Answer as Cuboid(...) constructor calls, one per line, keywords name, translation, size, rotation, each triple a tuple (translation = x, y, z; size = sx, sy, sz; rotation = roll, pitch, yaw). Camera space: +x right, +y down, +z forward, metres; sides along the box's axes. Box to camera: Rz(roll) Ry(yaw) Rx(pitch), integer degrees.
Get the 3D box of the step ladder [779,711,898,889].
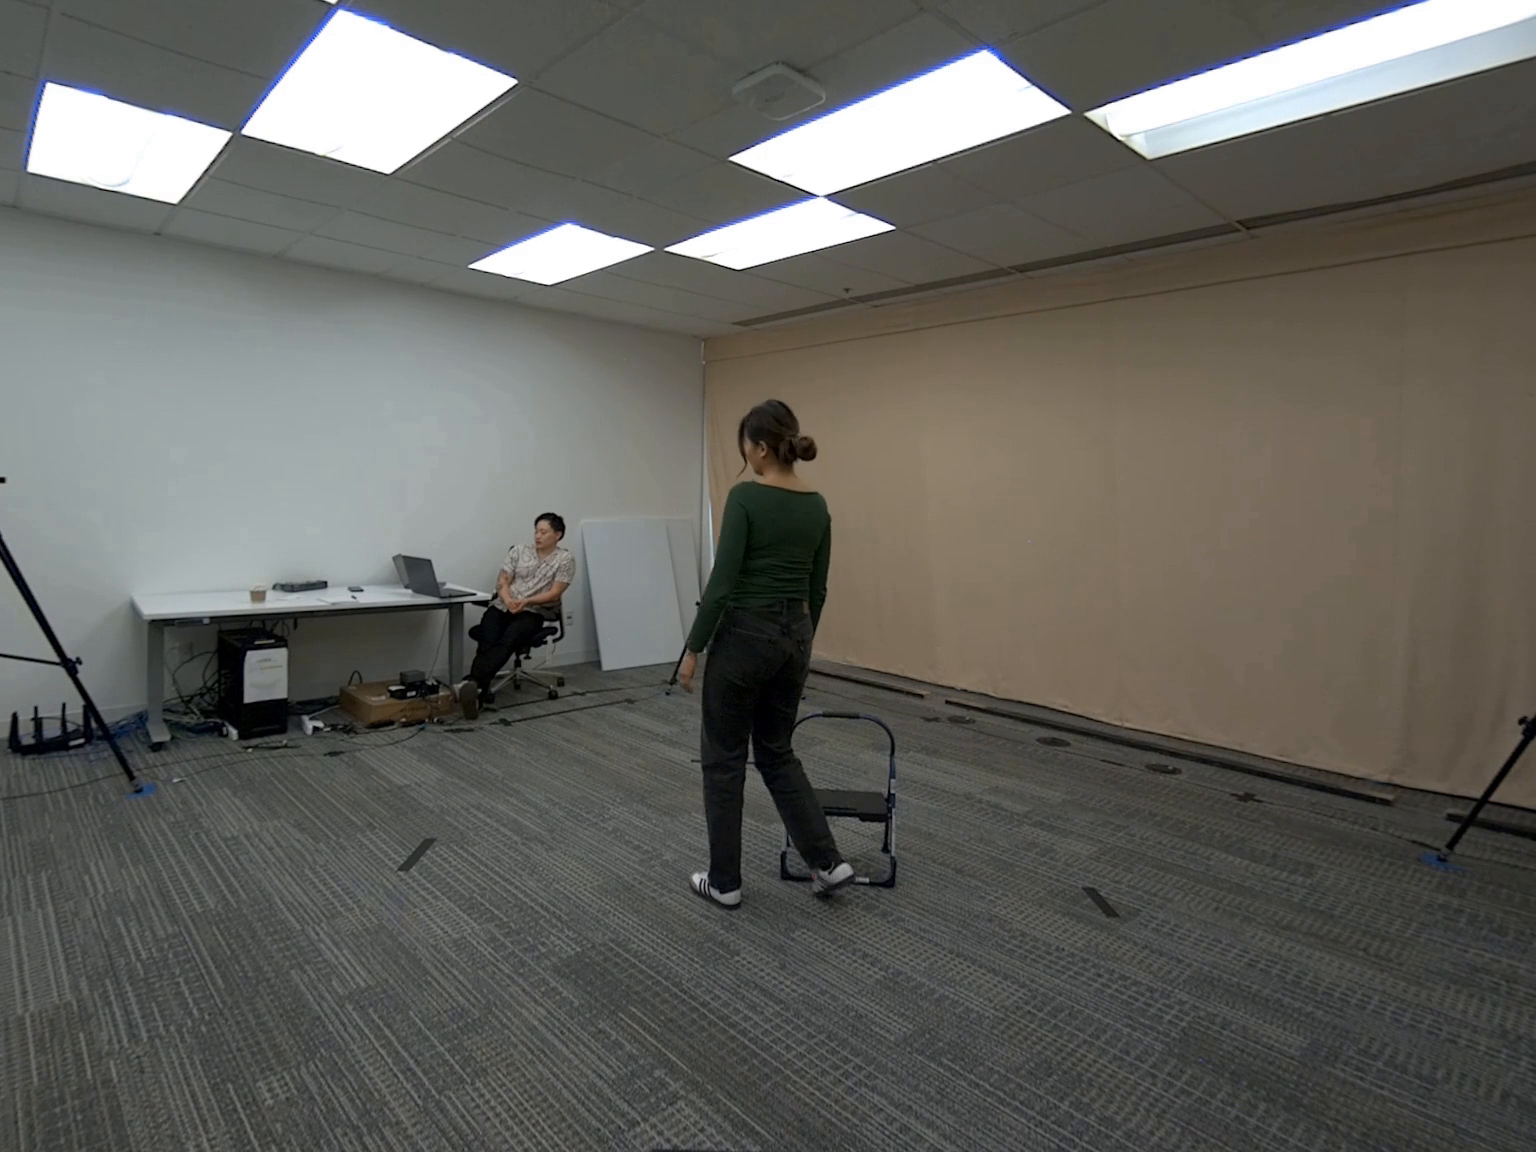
Cuboid(name="step ladder", translation=(0.265, 0.798, 3.201), size=(0.432, 0.605, 0.348), rotation=(1, 3, 4))
